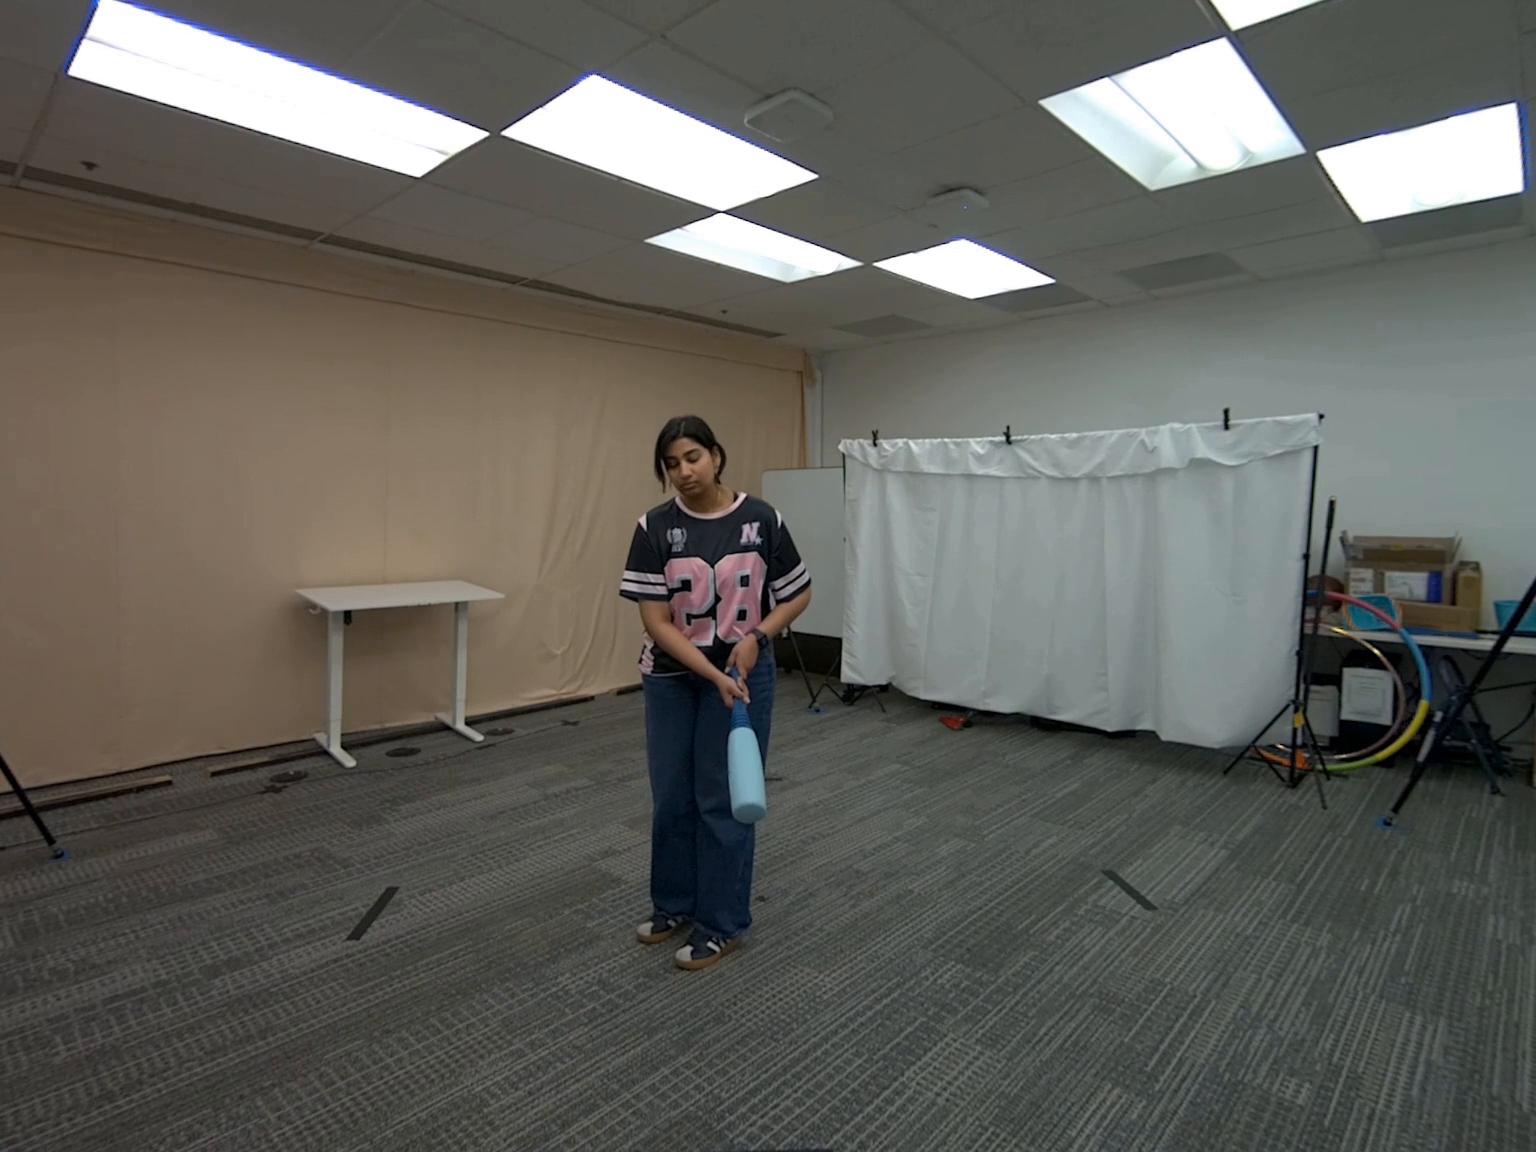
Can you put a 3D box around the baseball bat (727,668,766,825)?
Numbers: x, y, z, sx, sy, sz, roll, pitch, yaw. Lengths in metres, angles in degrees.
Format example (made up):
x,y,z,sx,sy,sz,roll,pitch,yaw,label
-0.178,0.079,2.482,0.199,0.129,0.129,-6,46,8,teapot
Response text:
x,y,z,sx,sy,sz,roll,pitch,yaw,label
-0.069,0.420,2.255,0.088,0.088,0.557,-1,36,-12,baseball bat
